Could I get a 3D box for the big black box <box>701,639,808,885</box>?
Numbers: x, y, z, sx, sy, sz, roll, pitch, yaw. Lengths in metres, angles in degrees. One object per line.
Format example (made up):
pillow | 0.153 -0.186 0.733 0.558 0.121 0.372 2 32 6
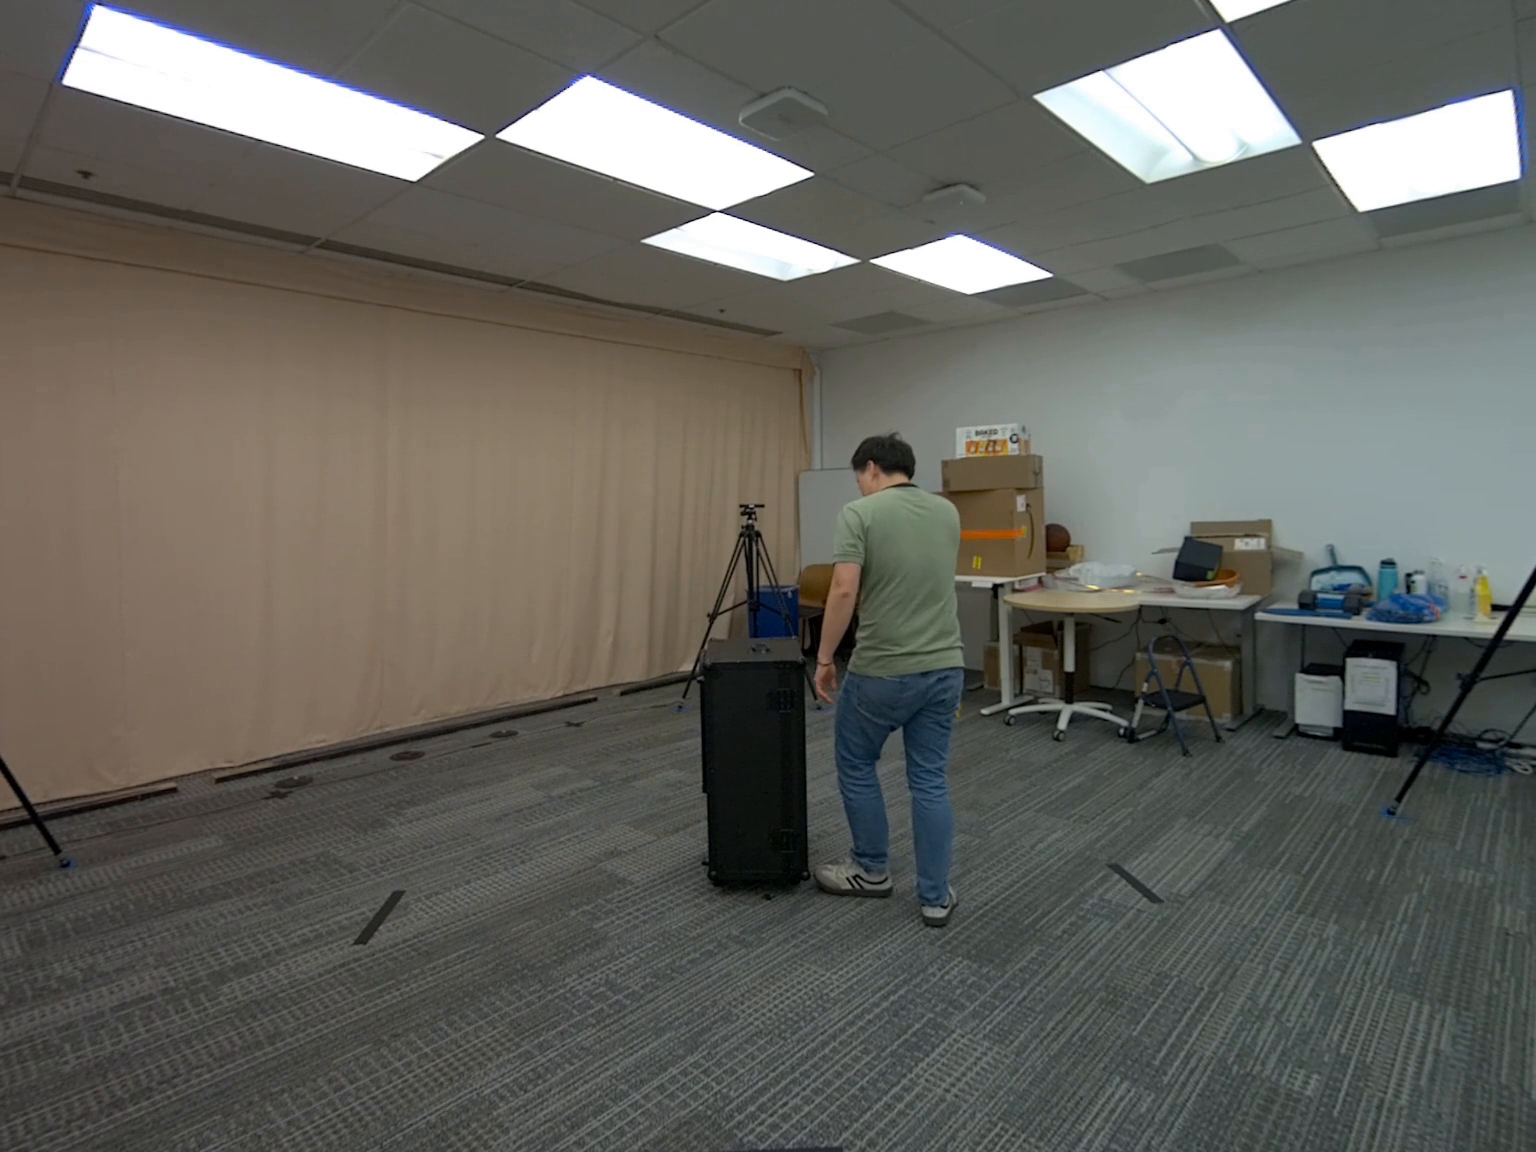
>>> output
big black box | -0.057 0.697 3.180 0.397 0.859 0.522 -1 4 0
